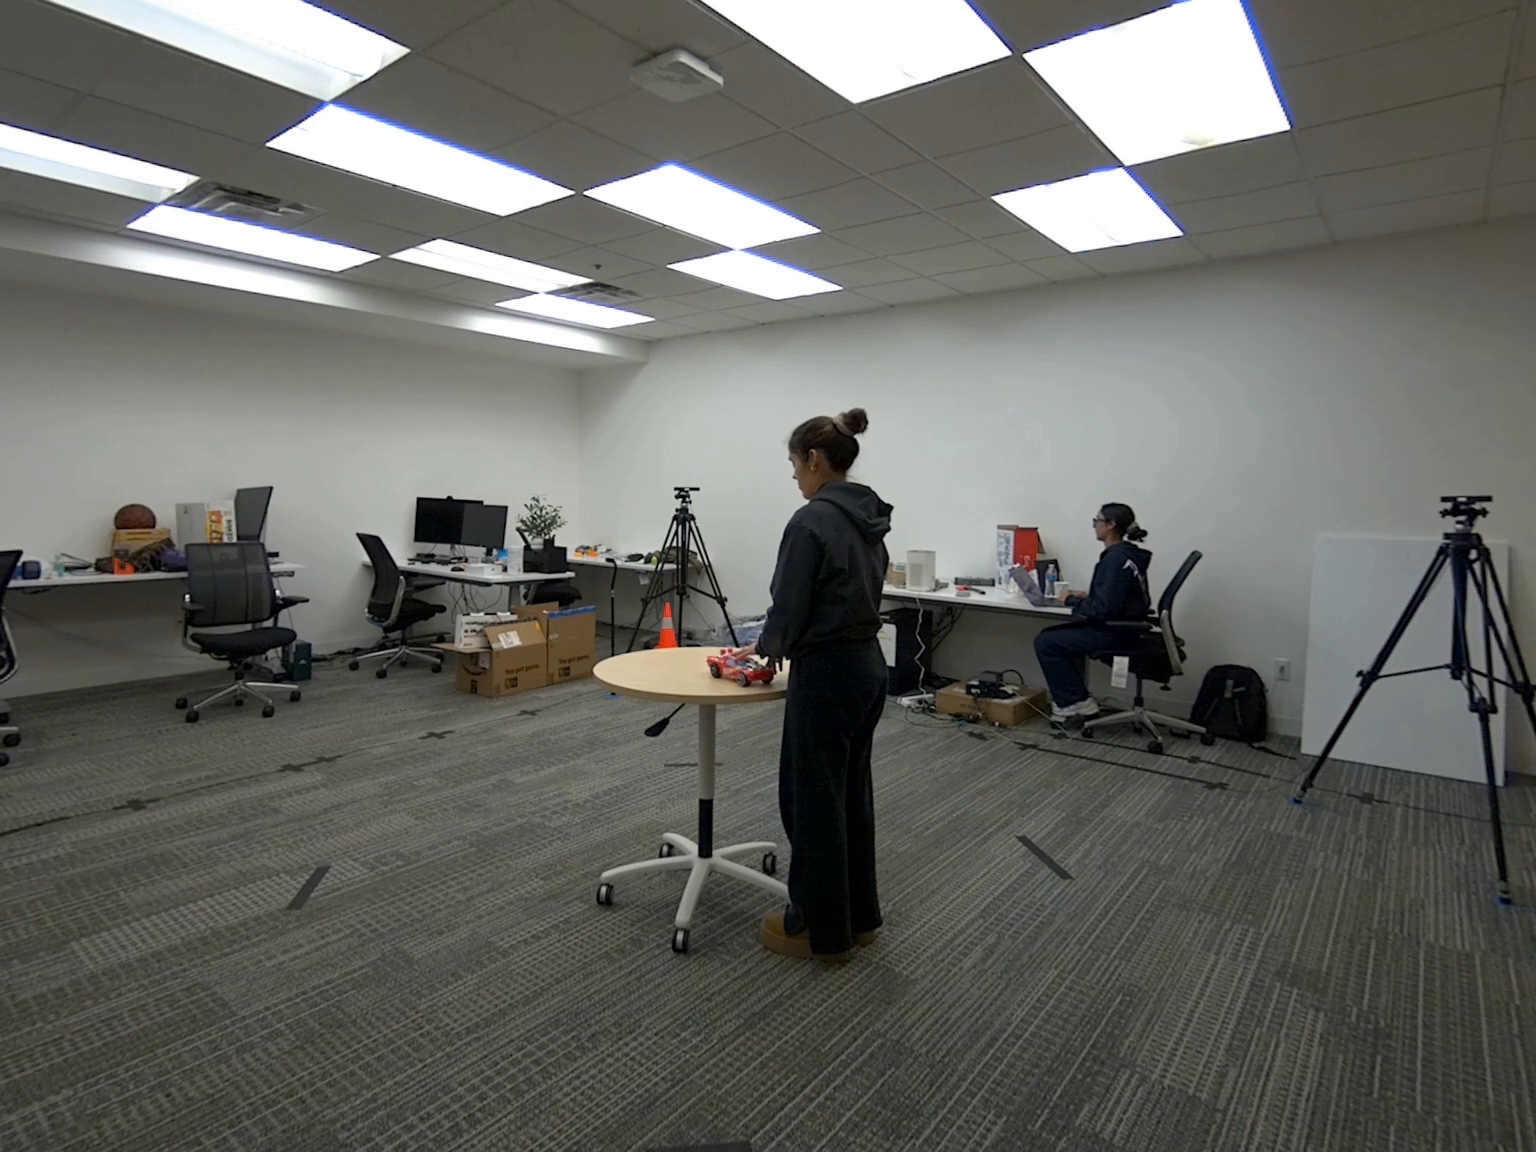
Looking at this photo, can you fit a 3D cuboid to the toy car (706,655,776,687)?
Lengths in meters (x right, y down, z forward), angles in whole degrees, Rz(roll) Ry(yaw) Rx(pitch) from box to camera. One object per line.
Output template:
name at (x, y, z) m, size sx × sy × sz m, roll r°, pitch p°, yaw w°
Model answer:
toy car at (-0.098, 0.294, 2.711) m, size 0.126 × 0.082 × 0.265 m, roll -4°, pitch 19°, yaw -36°
